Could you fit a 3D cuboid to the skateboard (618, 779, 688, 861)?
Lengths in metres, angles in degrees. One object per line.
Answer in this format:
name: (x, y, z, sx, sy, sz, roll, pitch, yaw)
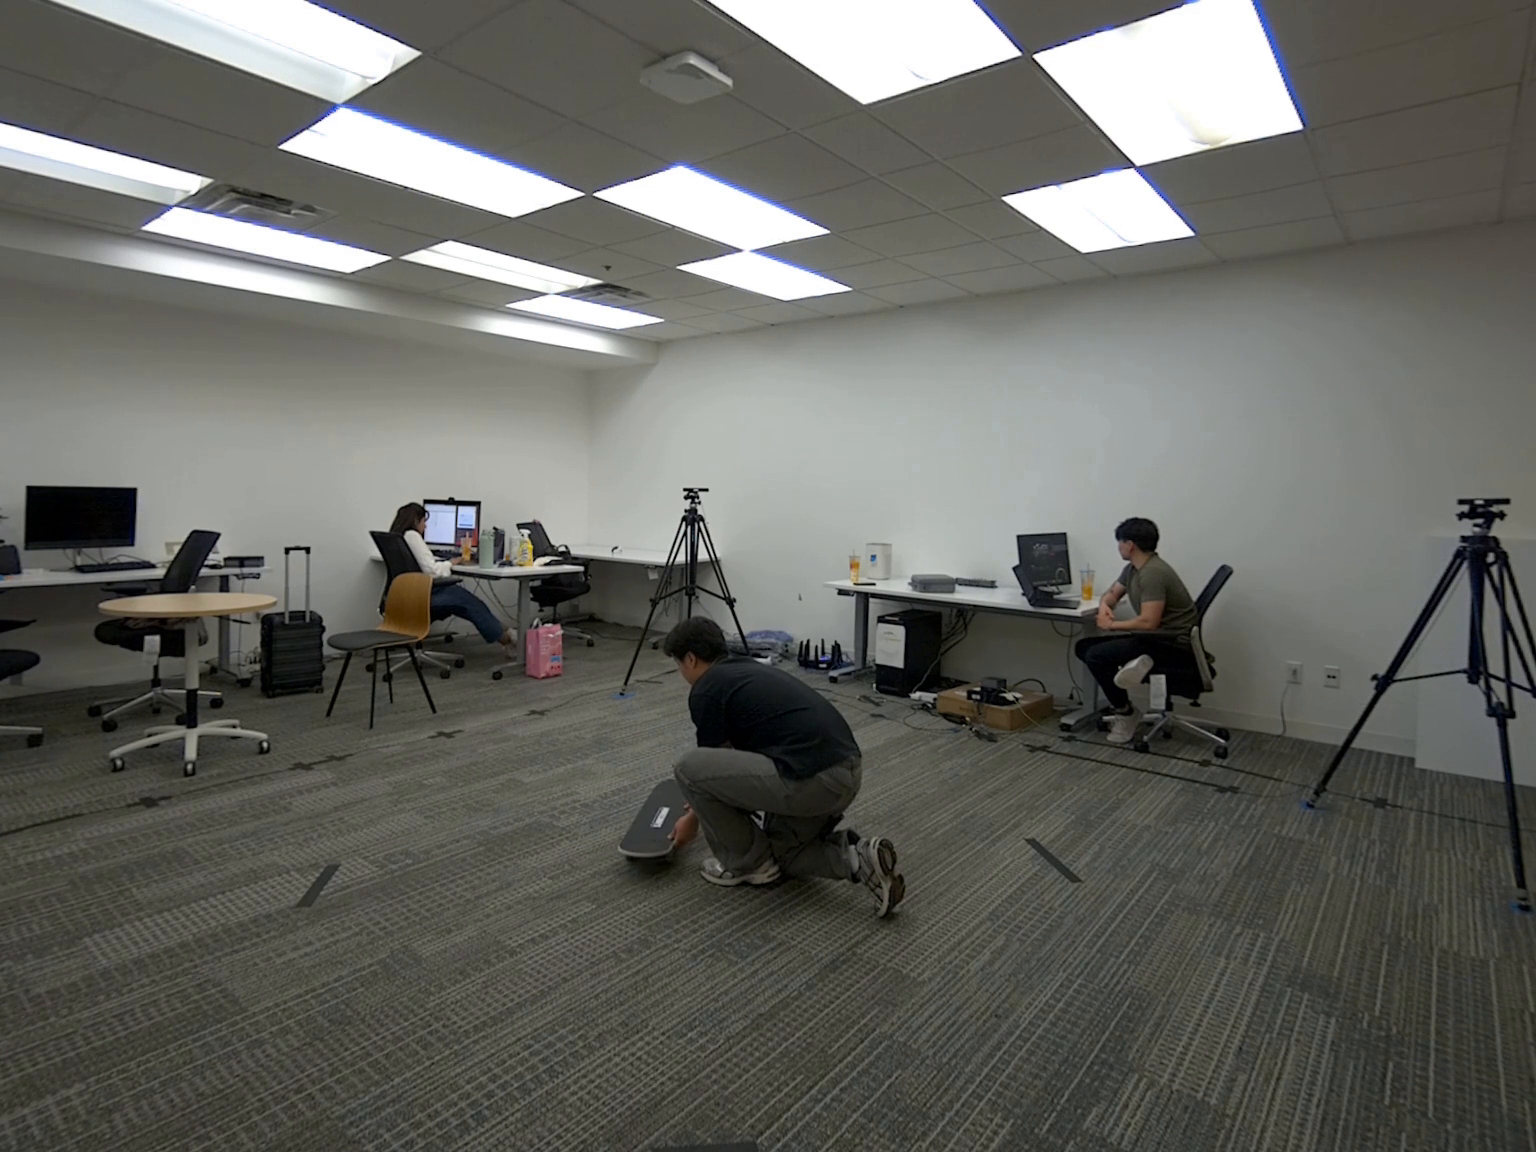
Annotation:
skateboard: (-0.438, 0.978, 3.362, 0.195, 0.110, 0.783, 1, 5, 4)
